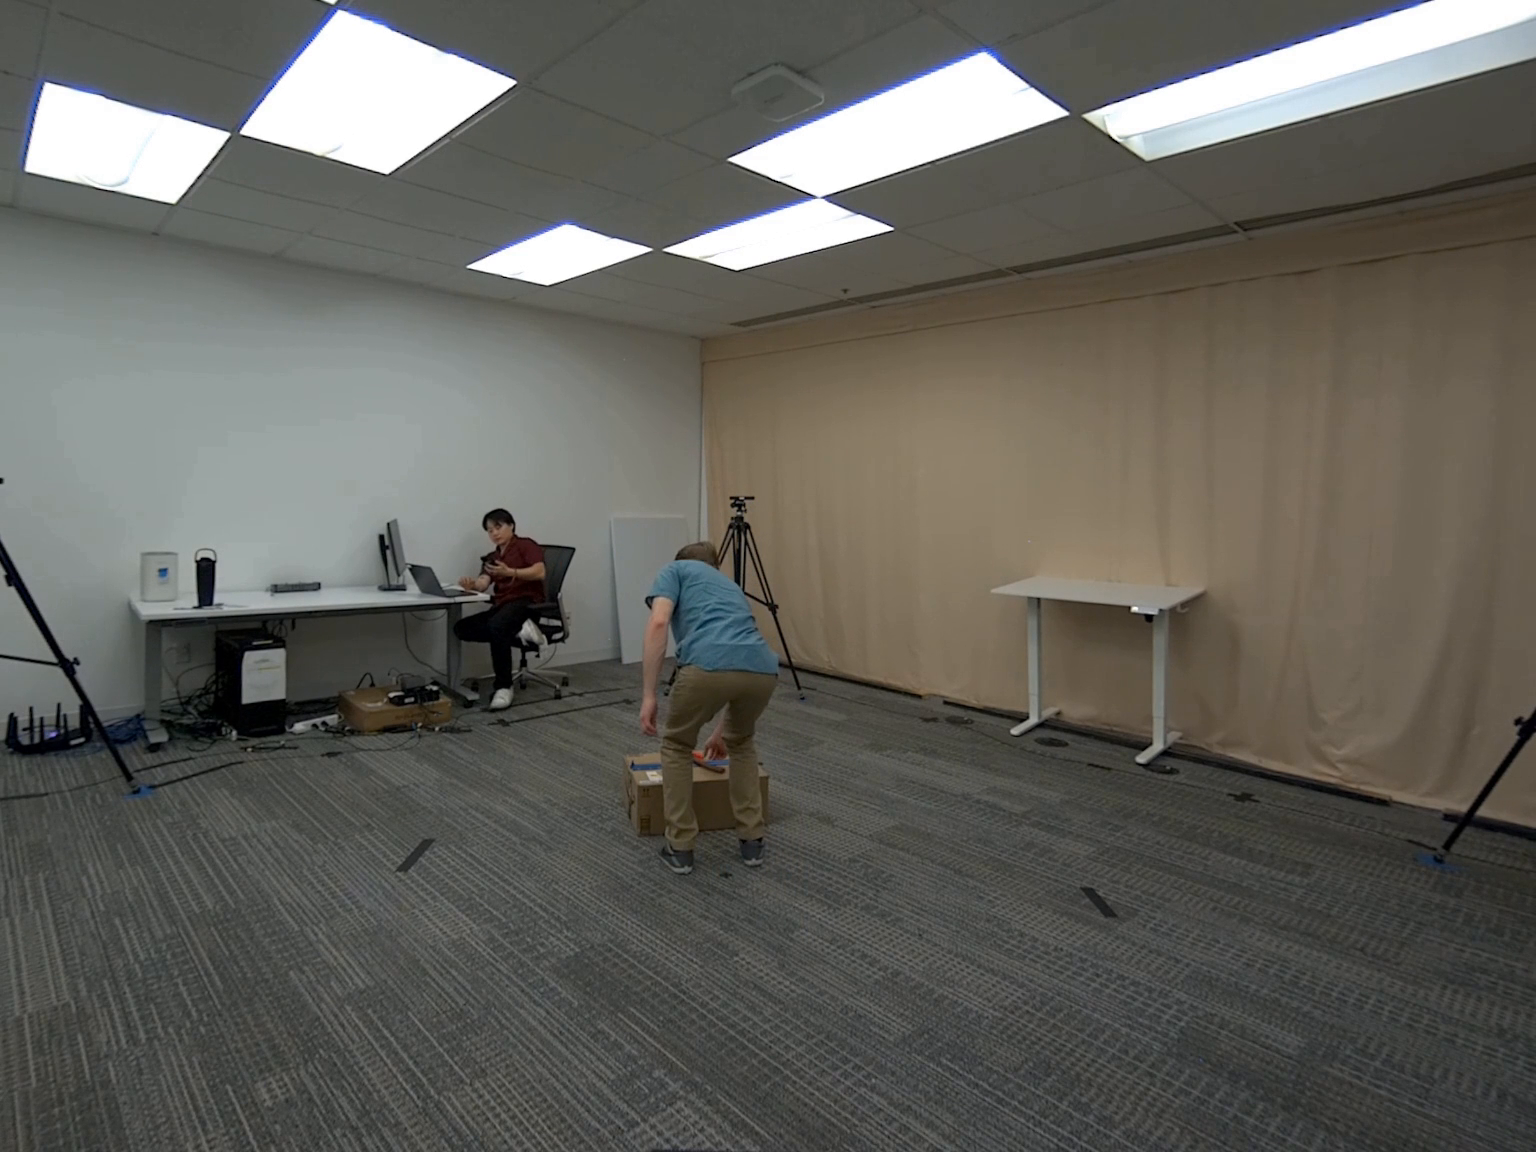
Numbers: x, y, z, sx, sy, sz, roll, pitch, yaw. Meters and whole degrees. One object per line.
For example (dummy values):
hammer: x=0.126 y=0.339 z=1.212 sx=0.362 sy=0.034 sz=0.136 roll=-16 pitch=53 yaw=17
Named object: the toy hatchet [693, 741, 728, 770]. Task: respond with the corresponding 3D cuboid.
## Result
toy hatchet: x=-0.281 y=0.818 z=3.721 sx=0.277 sy=0.029 sz=0.128 roll=8 pitch=3 yaw=38
